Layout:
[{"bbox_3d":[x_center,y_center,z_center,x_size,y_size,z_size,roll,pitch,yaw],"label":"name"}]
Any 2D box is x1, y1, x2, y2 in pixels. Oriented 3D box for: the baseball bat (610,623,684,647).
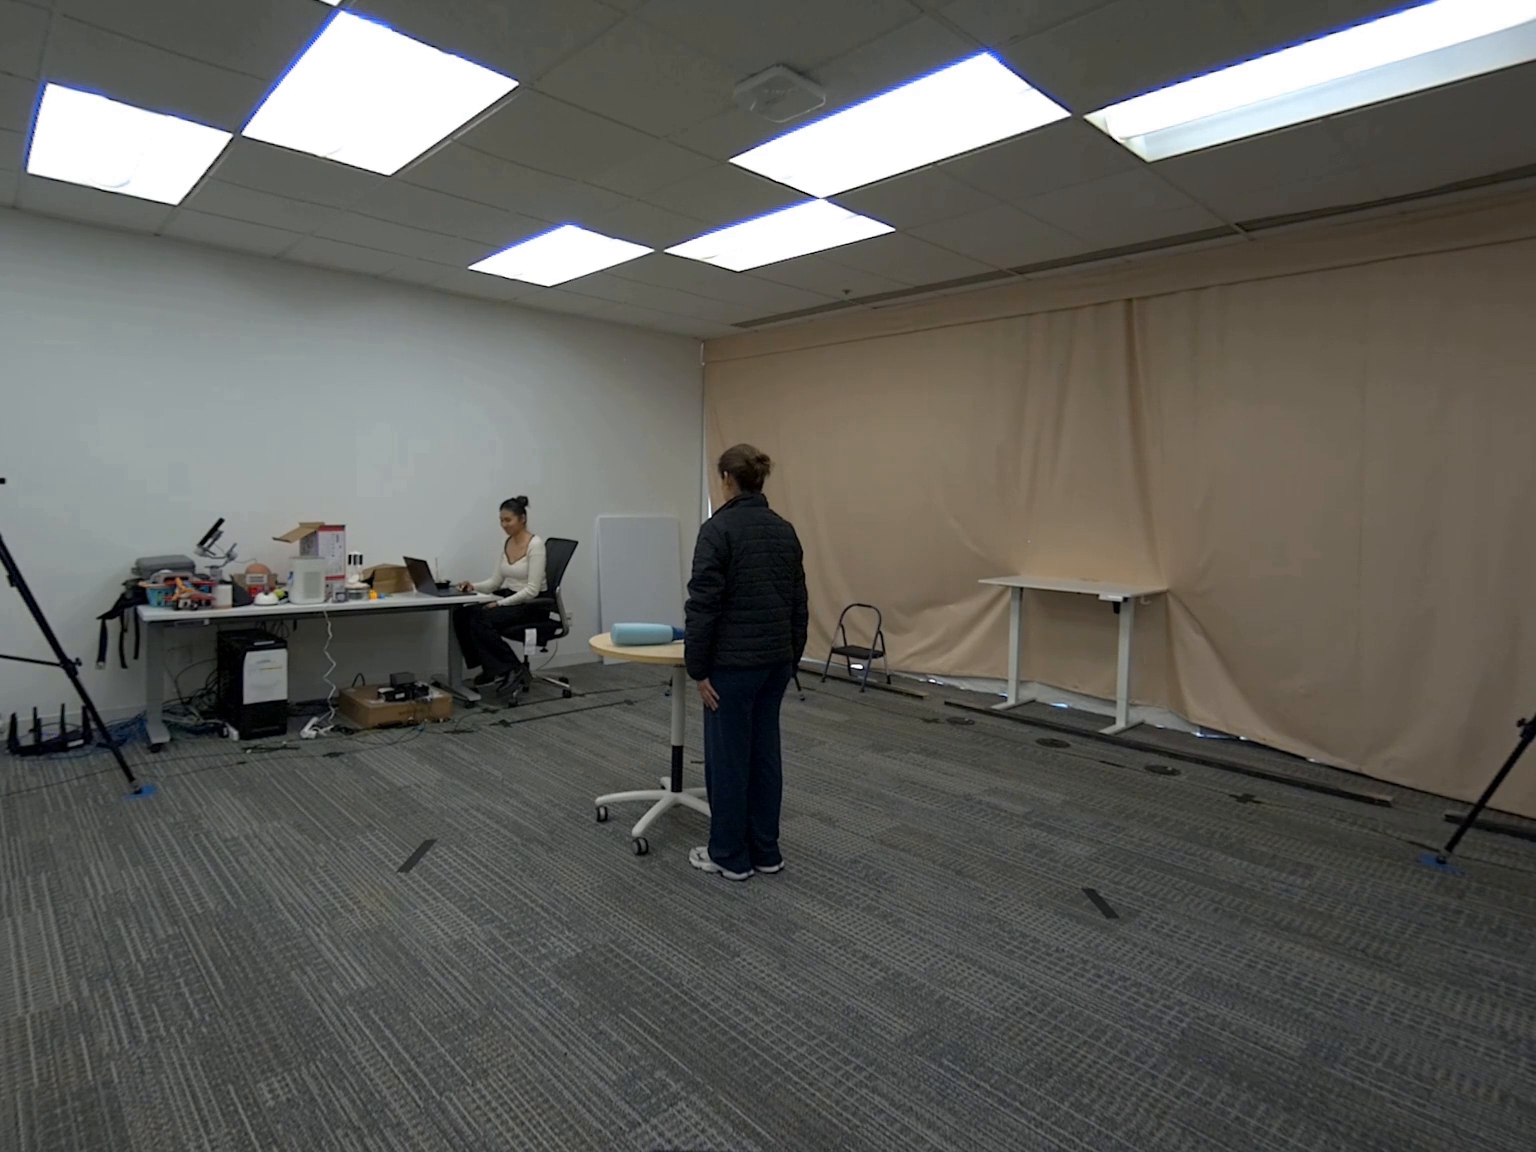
[{"bbox_3d":[-0.392,0.248,3.495,0.533,0.089,0.091,2,3,-25],"label":"baseball bat"}]
